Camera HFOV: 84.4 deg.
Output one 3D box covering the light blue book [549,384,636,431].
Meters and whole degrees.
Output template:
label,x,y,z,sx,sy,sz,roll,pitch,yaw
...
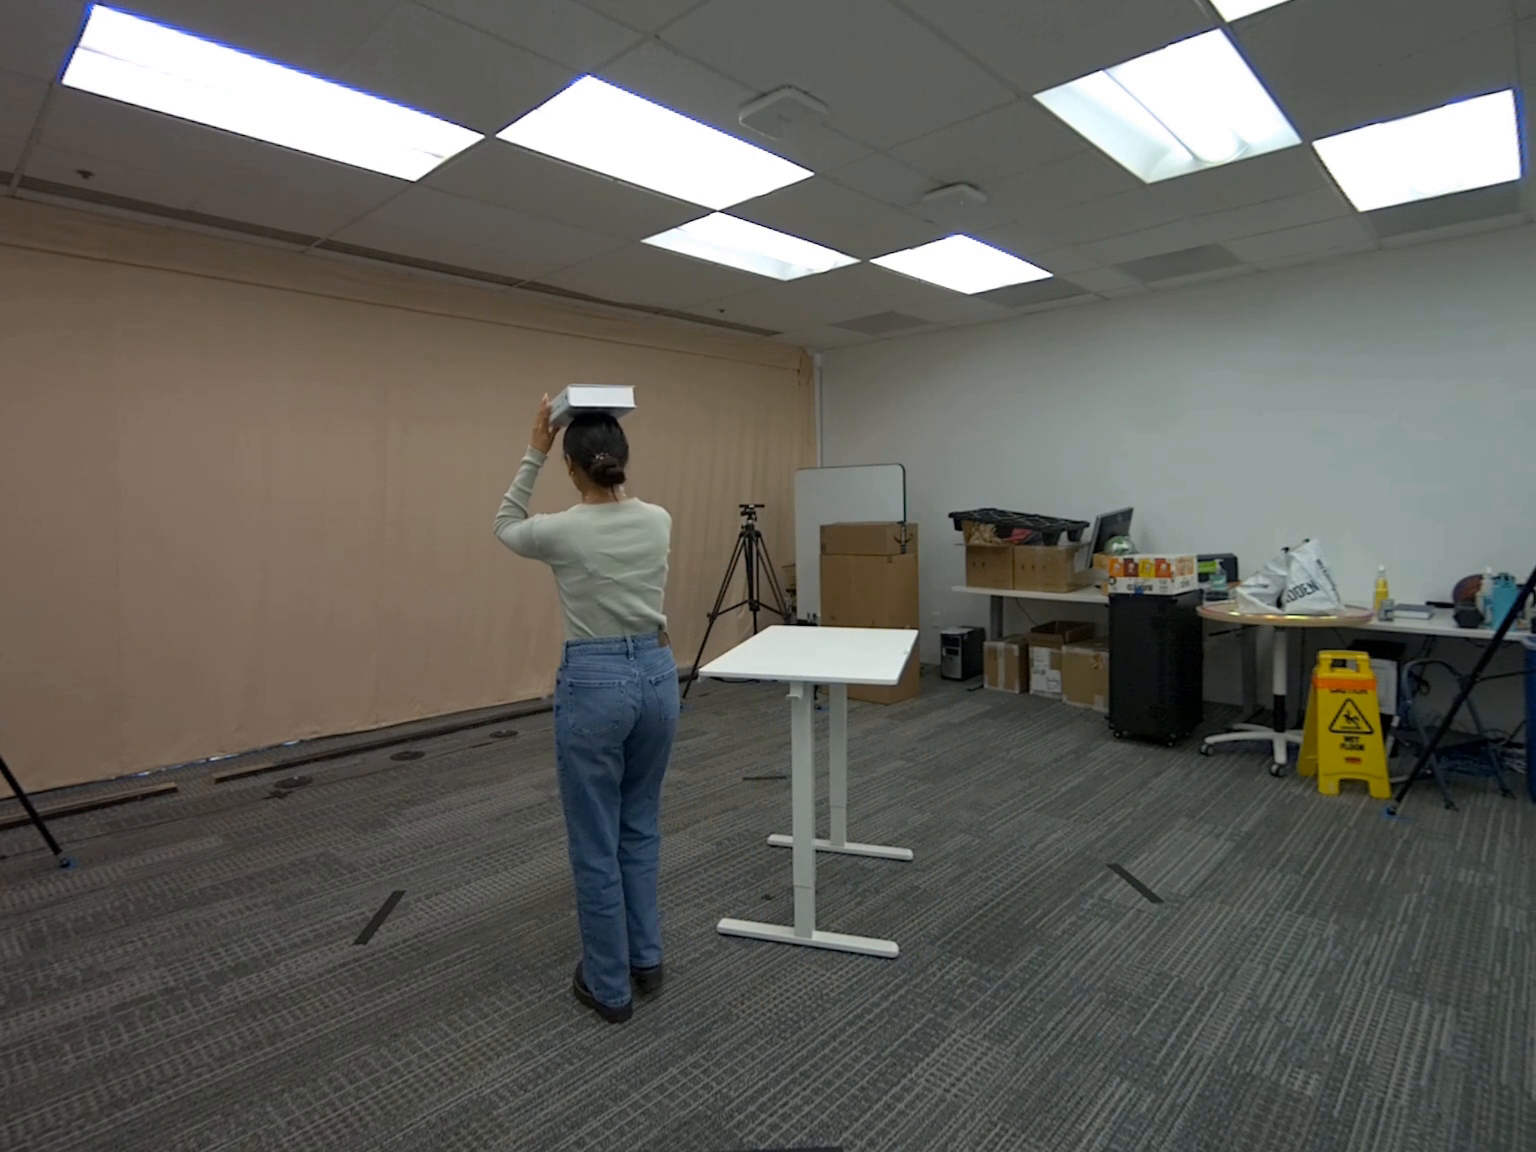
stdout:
label,x,y,z,sx,sy,sz,roll,pitch,yaw
light blue book,-0.488,-0.470,2.345,0.187,0.059,0.267,-5,-1,-26
